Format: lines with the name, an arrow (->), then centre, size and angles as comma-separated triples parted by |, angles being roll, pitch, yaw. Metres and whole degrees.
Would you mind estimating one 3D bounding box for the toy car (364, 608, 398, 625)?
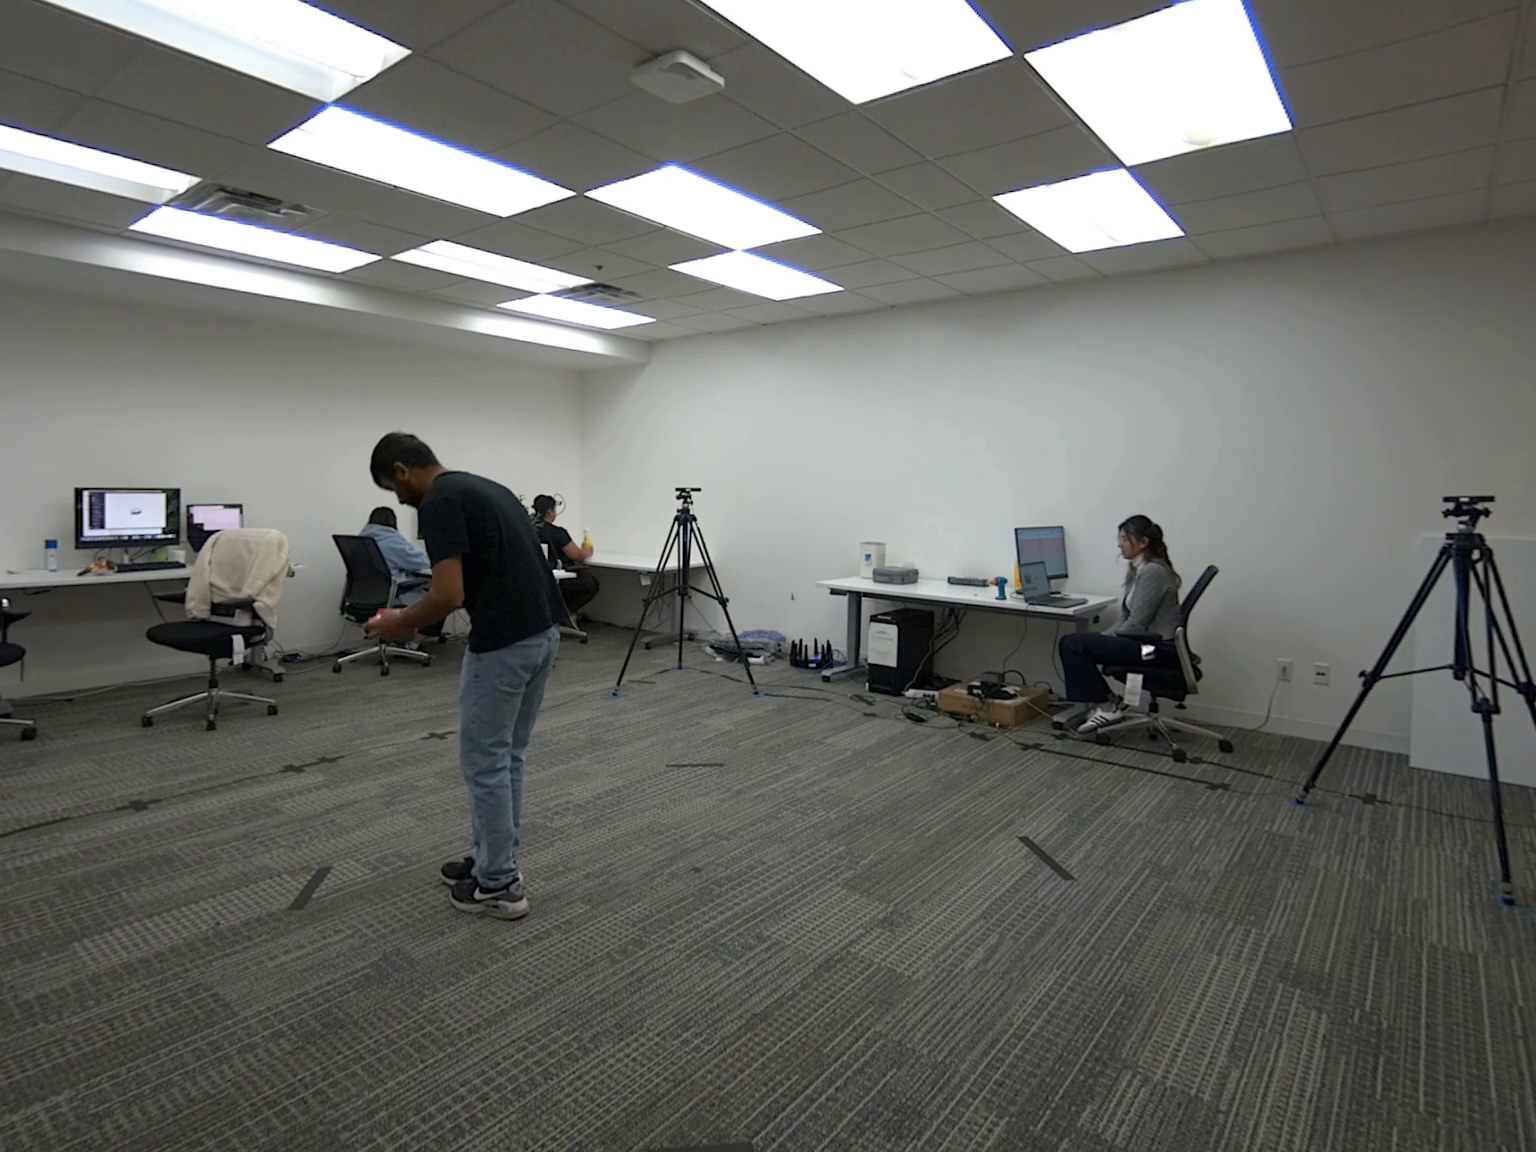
toy car -> -1.285, 0.153, 2.881 | 0.129, 0.084, 0.255 | -2, -6, -10
